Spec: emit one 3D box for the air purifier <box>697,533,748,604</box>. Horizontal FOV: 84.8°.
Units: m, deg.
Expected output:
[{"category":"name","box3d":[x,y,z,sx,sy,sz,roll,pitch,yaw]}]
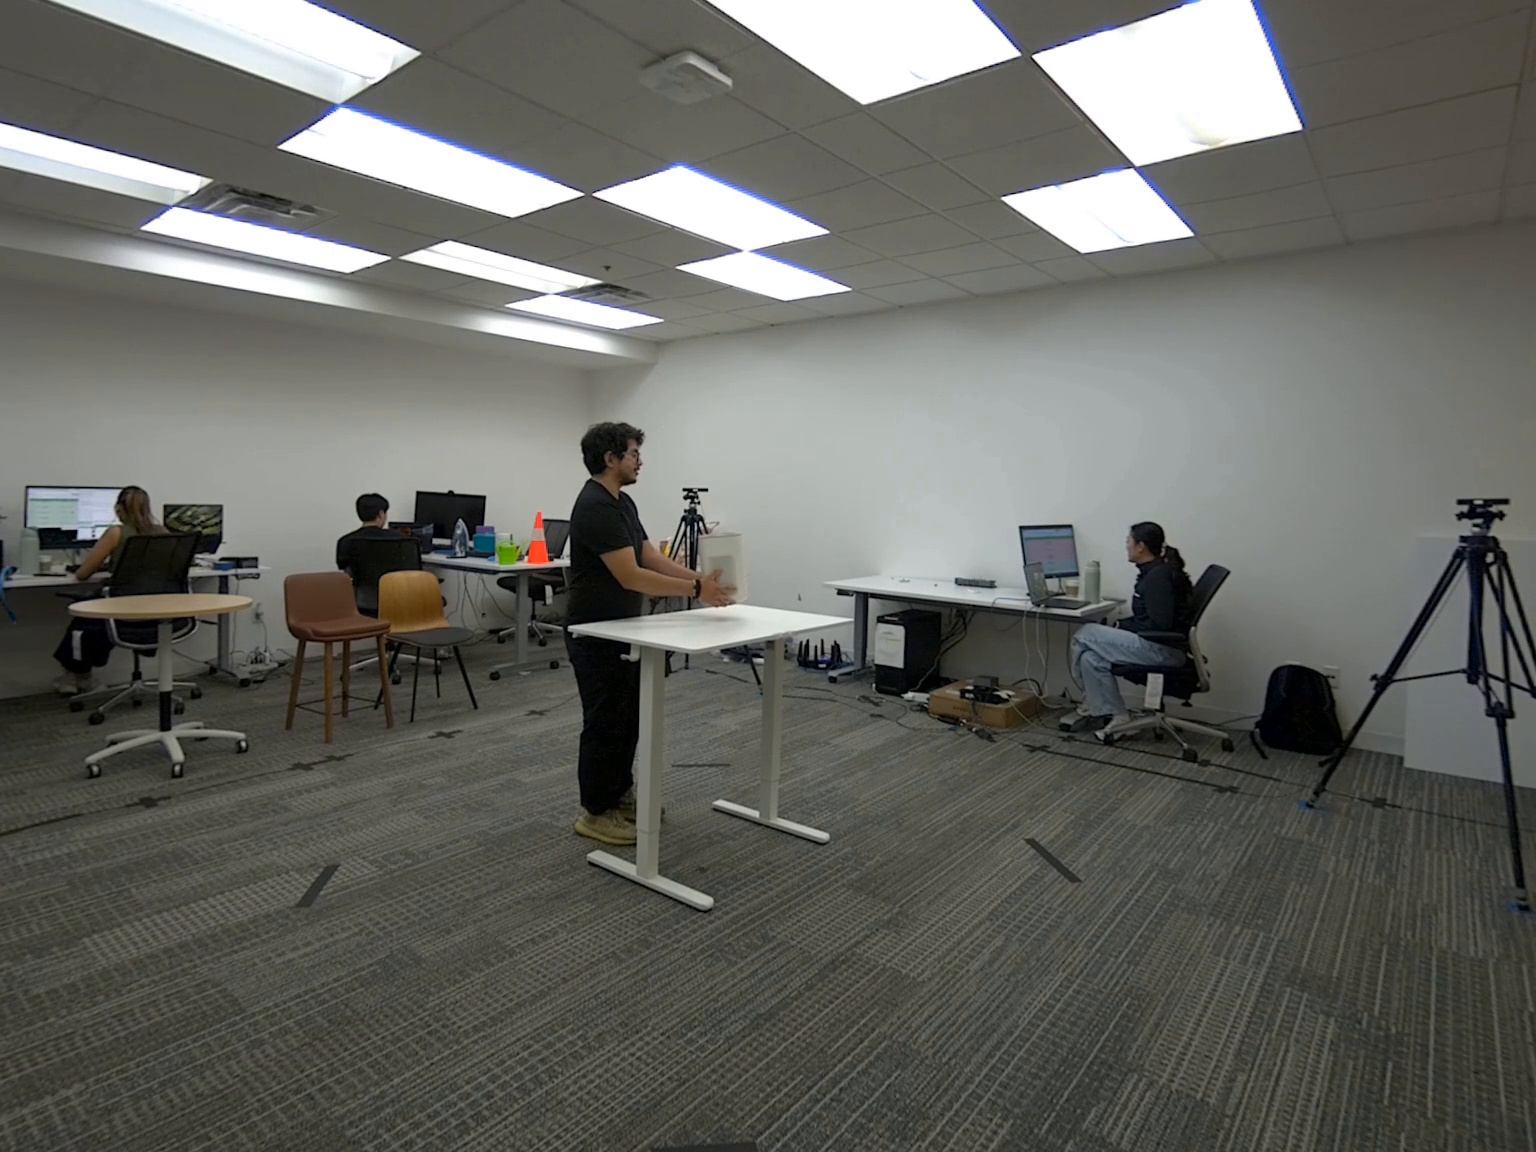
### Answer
[{"category":"air purifier","box3d":[-0.193,-0.030,3.320,0.172,0.265,0.171,-5,3,0]}]
